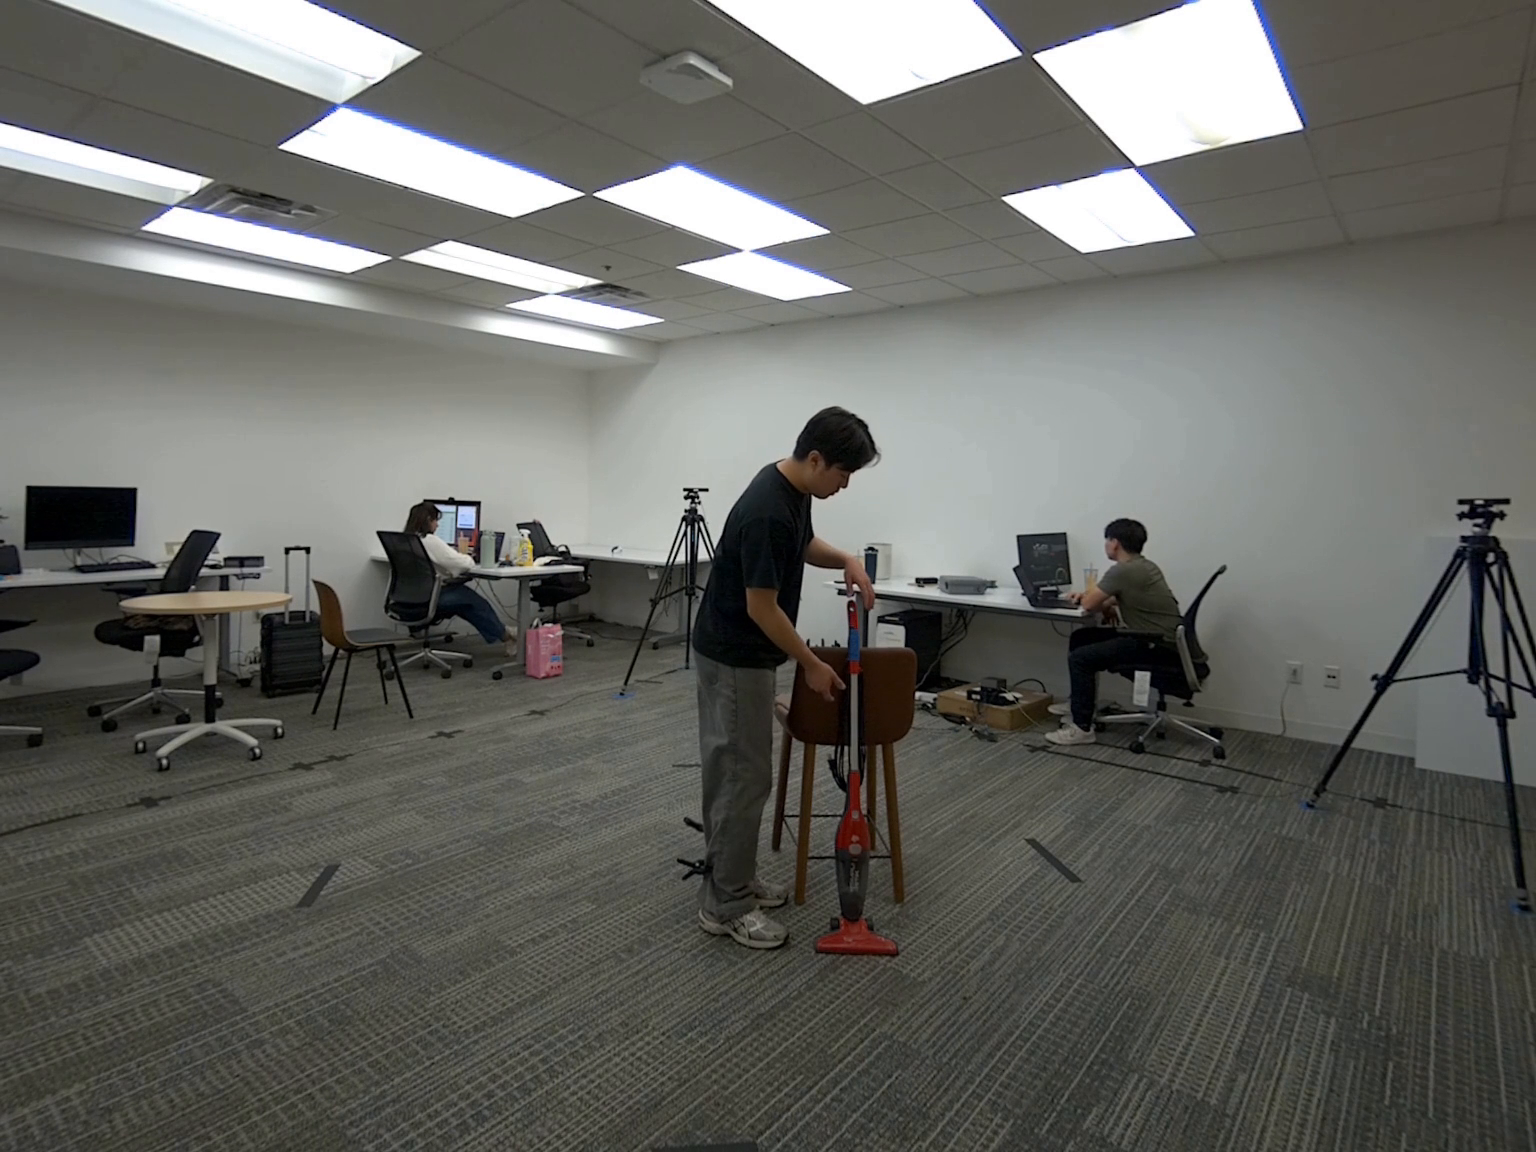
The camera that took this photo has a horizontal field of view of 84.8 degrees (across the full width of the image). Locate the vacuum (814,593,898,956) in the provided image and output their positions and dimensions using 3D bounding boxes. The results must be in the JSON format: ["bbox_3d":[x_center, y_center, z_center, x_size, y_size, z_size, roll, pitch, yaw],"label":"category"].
[{"bbox_3d":[0.265,0.613,2.706,0.251,1.059,0.144,1,-9,-7],"label":"vacuum"}]
